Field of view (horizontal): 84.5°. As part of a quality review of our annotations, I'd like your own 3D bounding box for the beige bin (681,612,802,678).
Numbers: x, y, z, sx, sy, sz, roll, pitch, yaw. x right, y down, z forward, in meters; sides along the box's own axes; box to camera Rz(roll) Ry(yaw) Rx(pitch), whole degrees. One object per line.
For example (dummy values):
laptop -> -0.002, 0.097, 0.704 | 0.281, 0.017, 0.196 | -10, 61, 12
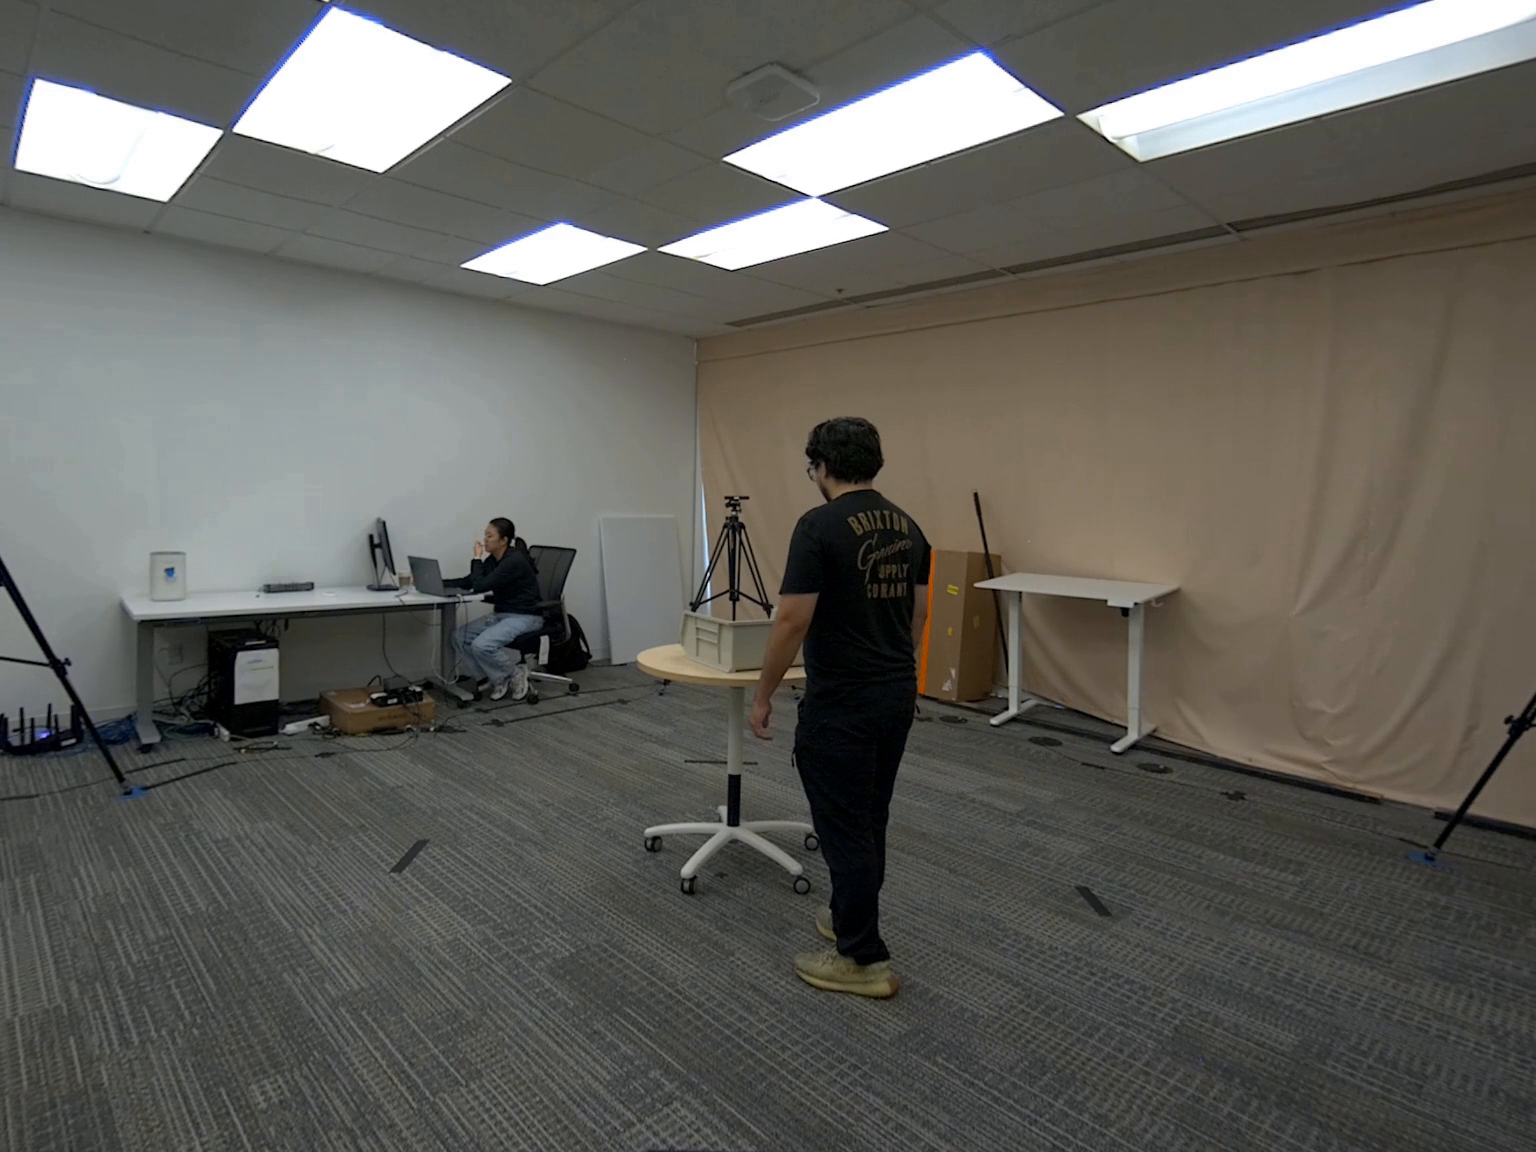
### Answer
beige bin -> -0.069, 0.229, 3.154 | 0.413, 0.188, 0.386 | -1, 6, -33
